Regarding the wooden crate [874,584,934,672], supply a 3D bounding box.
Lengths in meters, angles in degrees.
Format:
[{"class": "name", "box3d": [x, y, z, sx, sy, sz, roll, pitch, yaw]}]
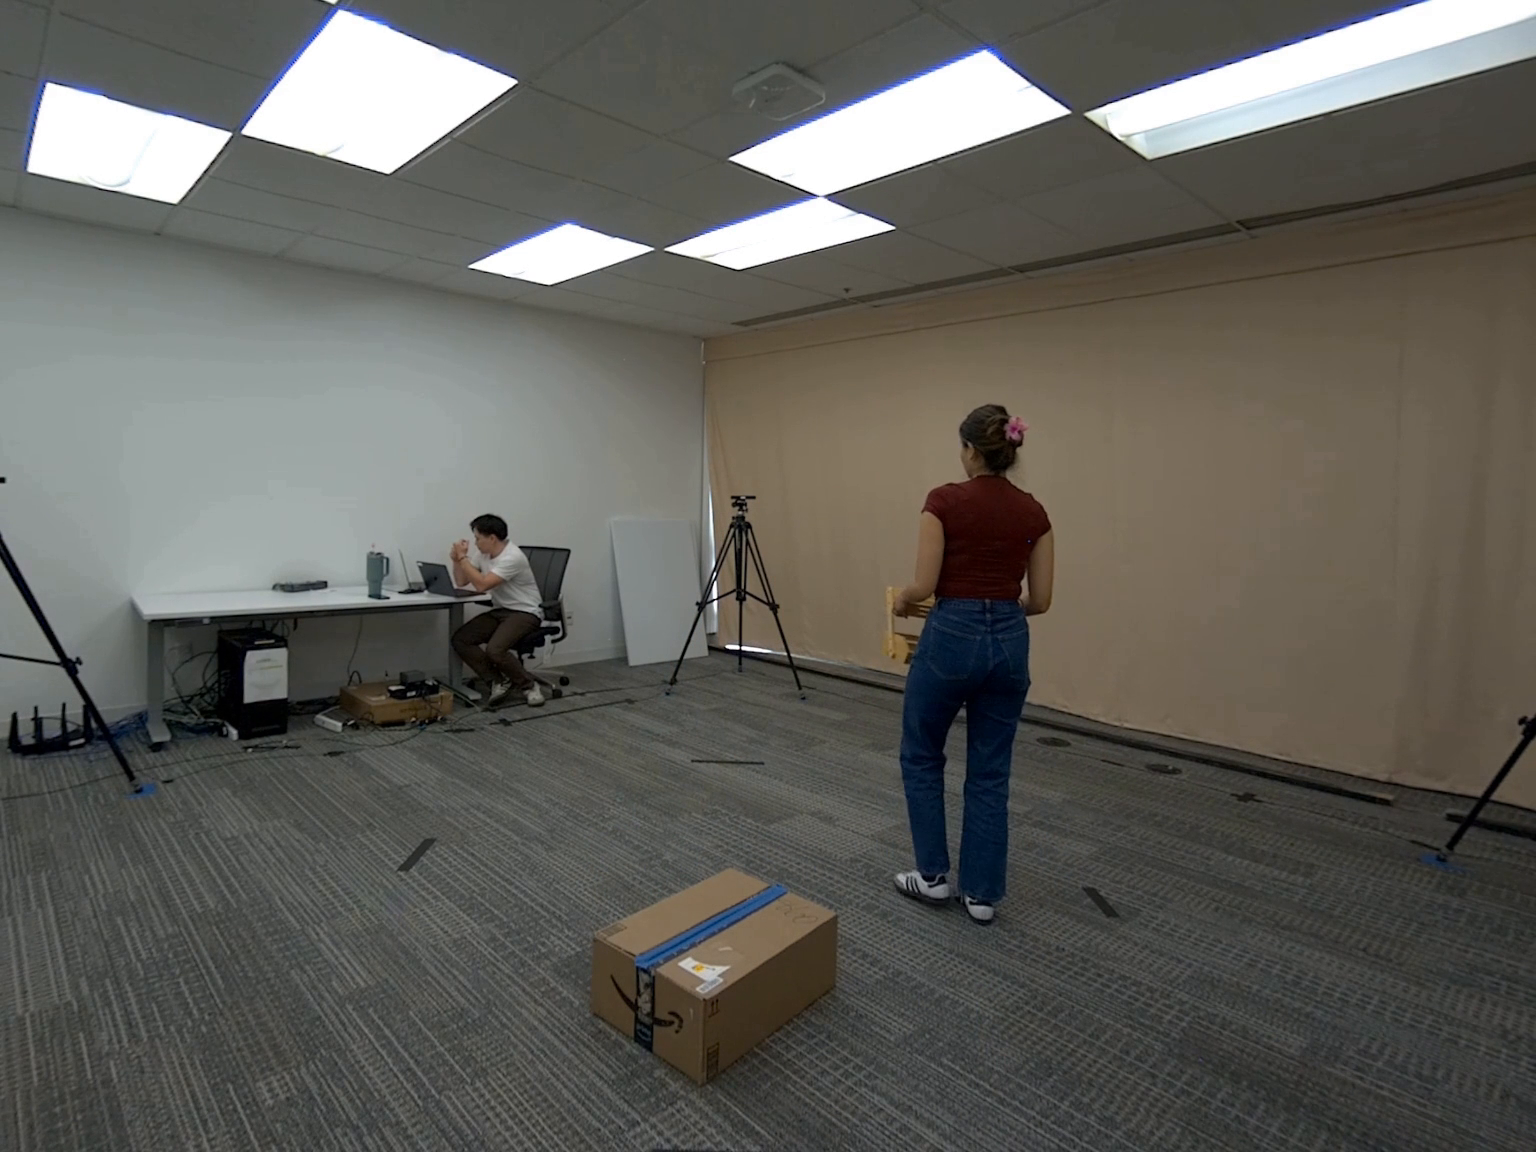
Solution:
[{"class": "wooden crate", "box3d": [0.615, 0.202, 3.101, 0.321, 0.273, 0.305, 9, 2, -11]}]
